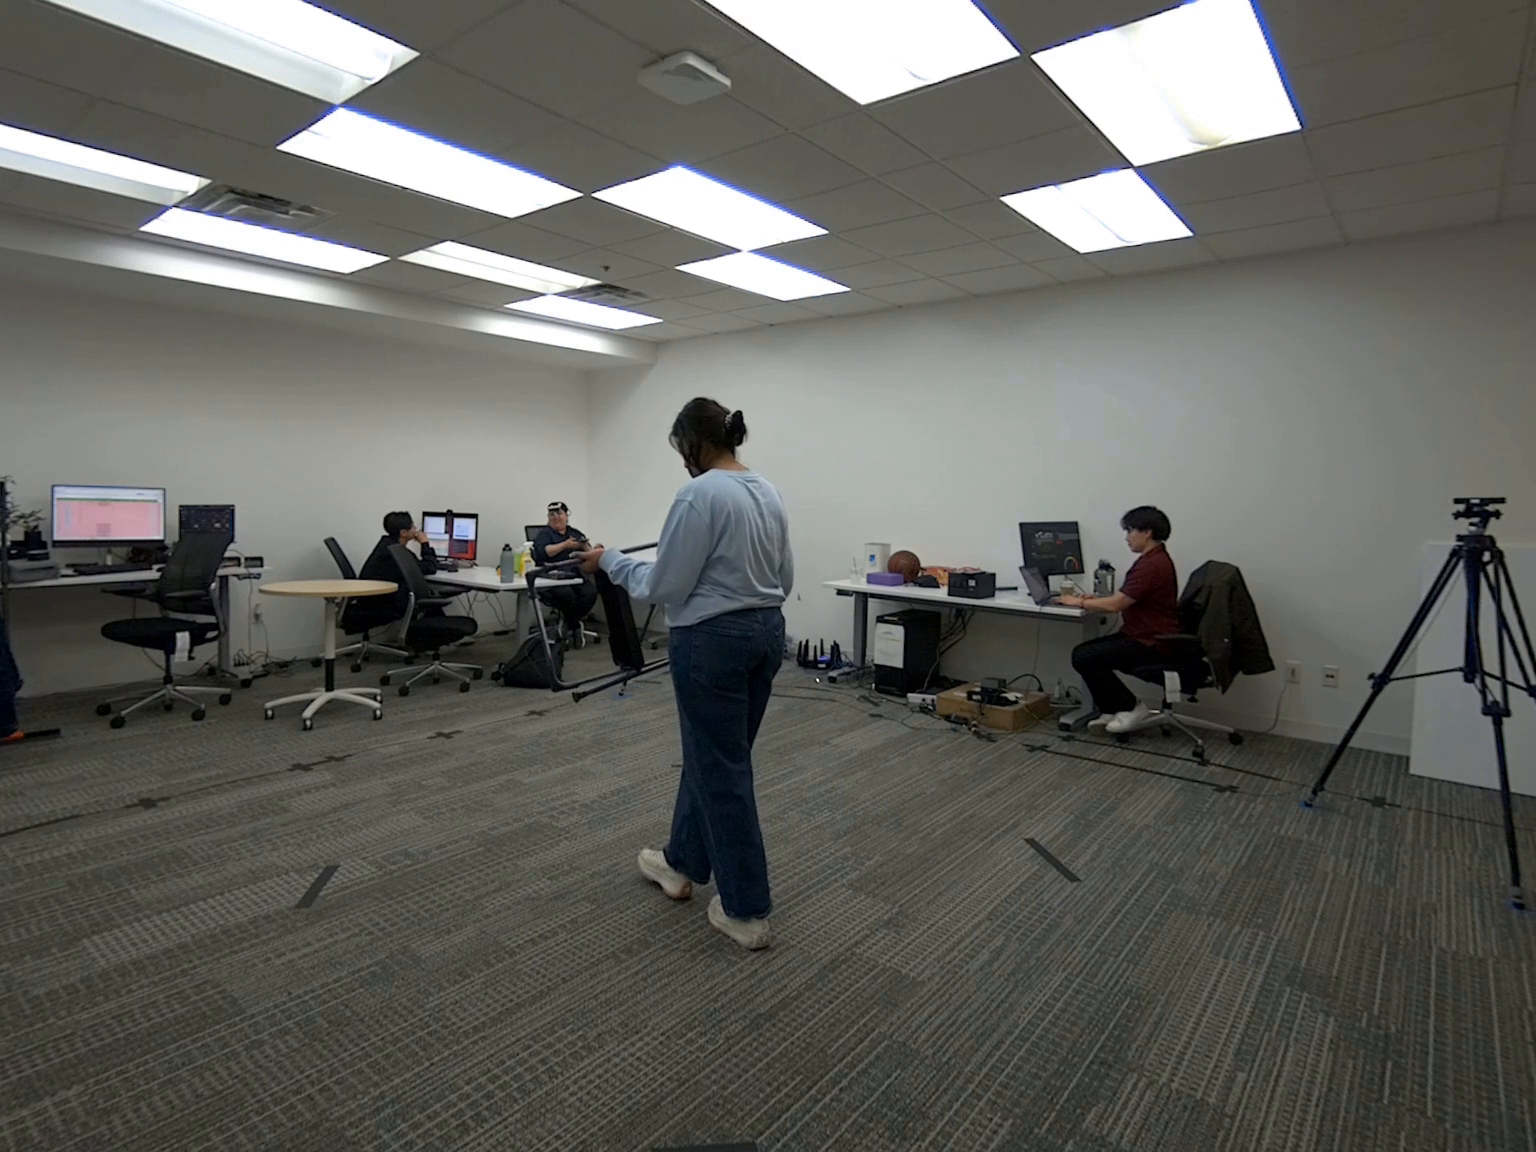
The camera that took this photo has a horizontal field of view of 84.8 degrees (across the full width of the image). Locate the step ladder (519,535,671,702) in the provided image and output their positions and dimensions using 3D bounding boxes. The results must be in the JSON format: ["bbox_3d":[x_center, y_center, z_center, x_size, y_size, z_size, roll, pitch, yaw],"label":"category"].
[{"bbox_3d":[-0.455,0.109,2.820,0.595,0.431,0.356,-14,1,-25],"label":"step ladder"}]
